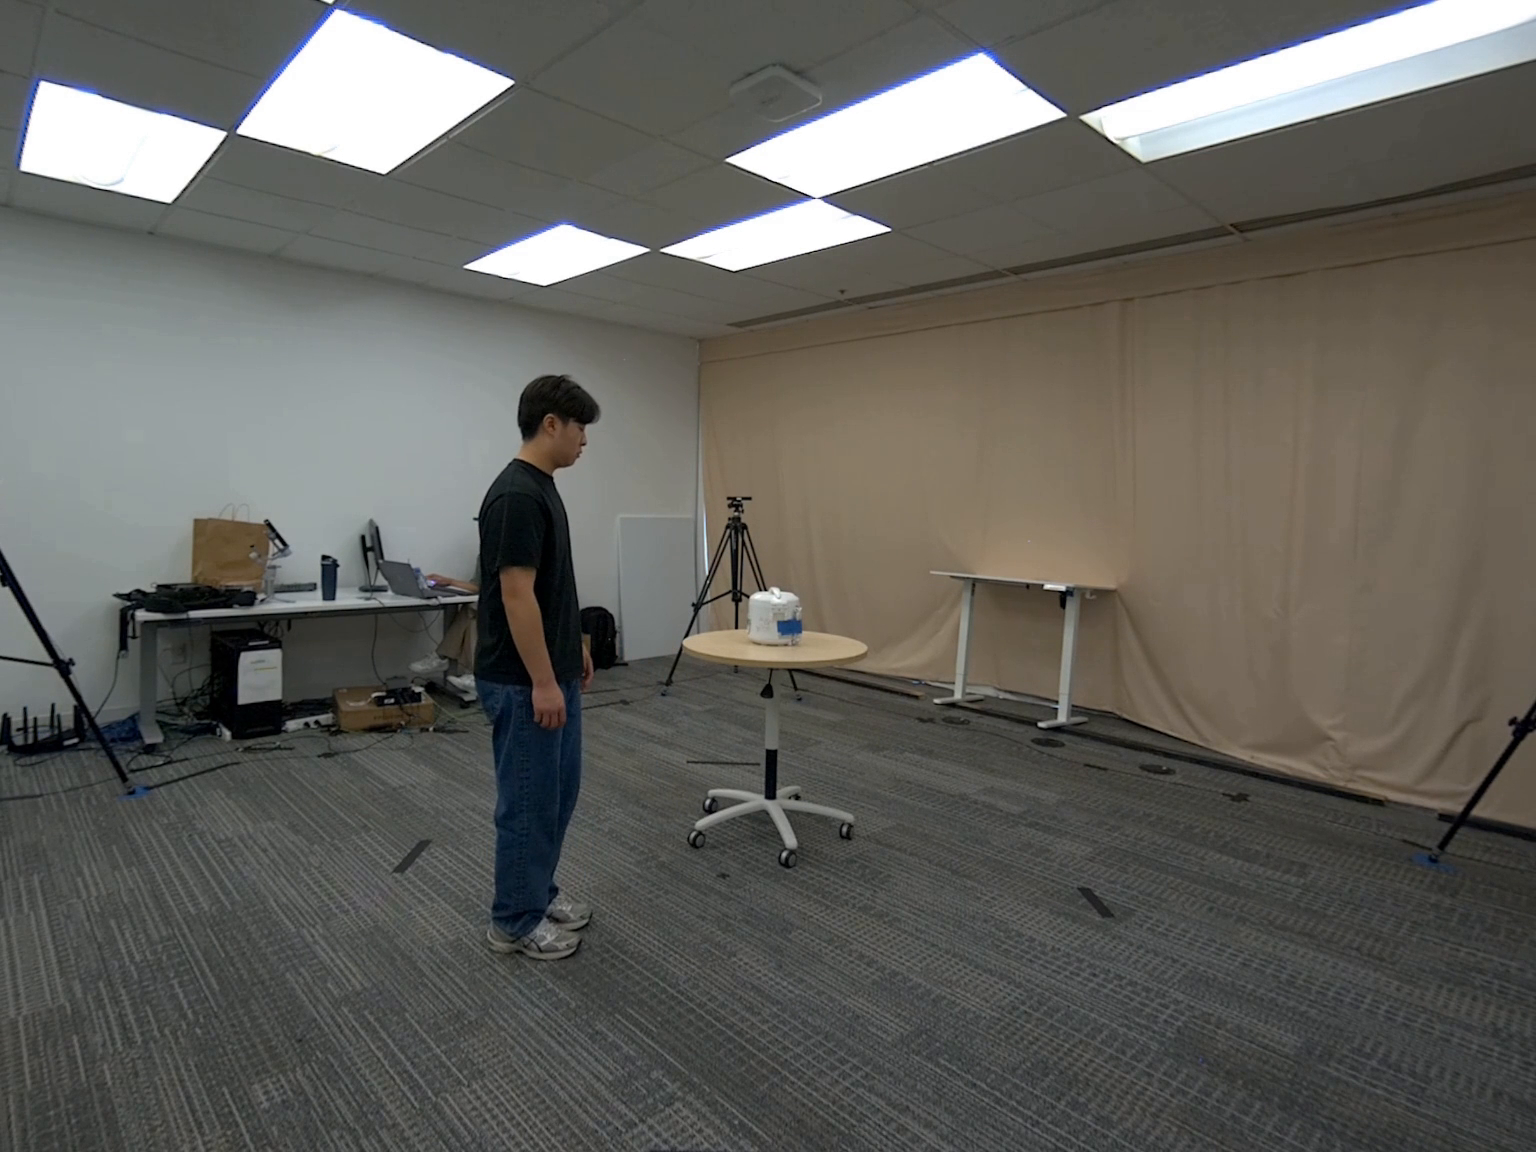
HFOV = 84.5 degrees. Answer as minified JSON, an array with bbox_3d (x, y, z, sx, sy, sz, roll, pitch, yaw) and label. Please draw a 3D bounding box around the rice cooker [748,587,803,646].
[{"bbox_3d":[0.019,0.166,3.518,0.216,0.232,0.223,1,3,-9],"label":"rice cooker"}]
